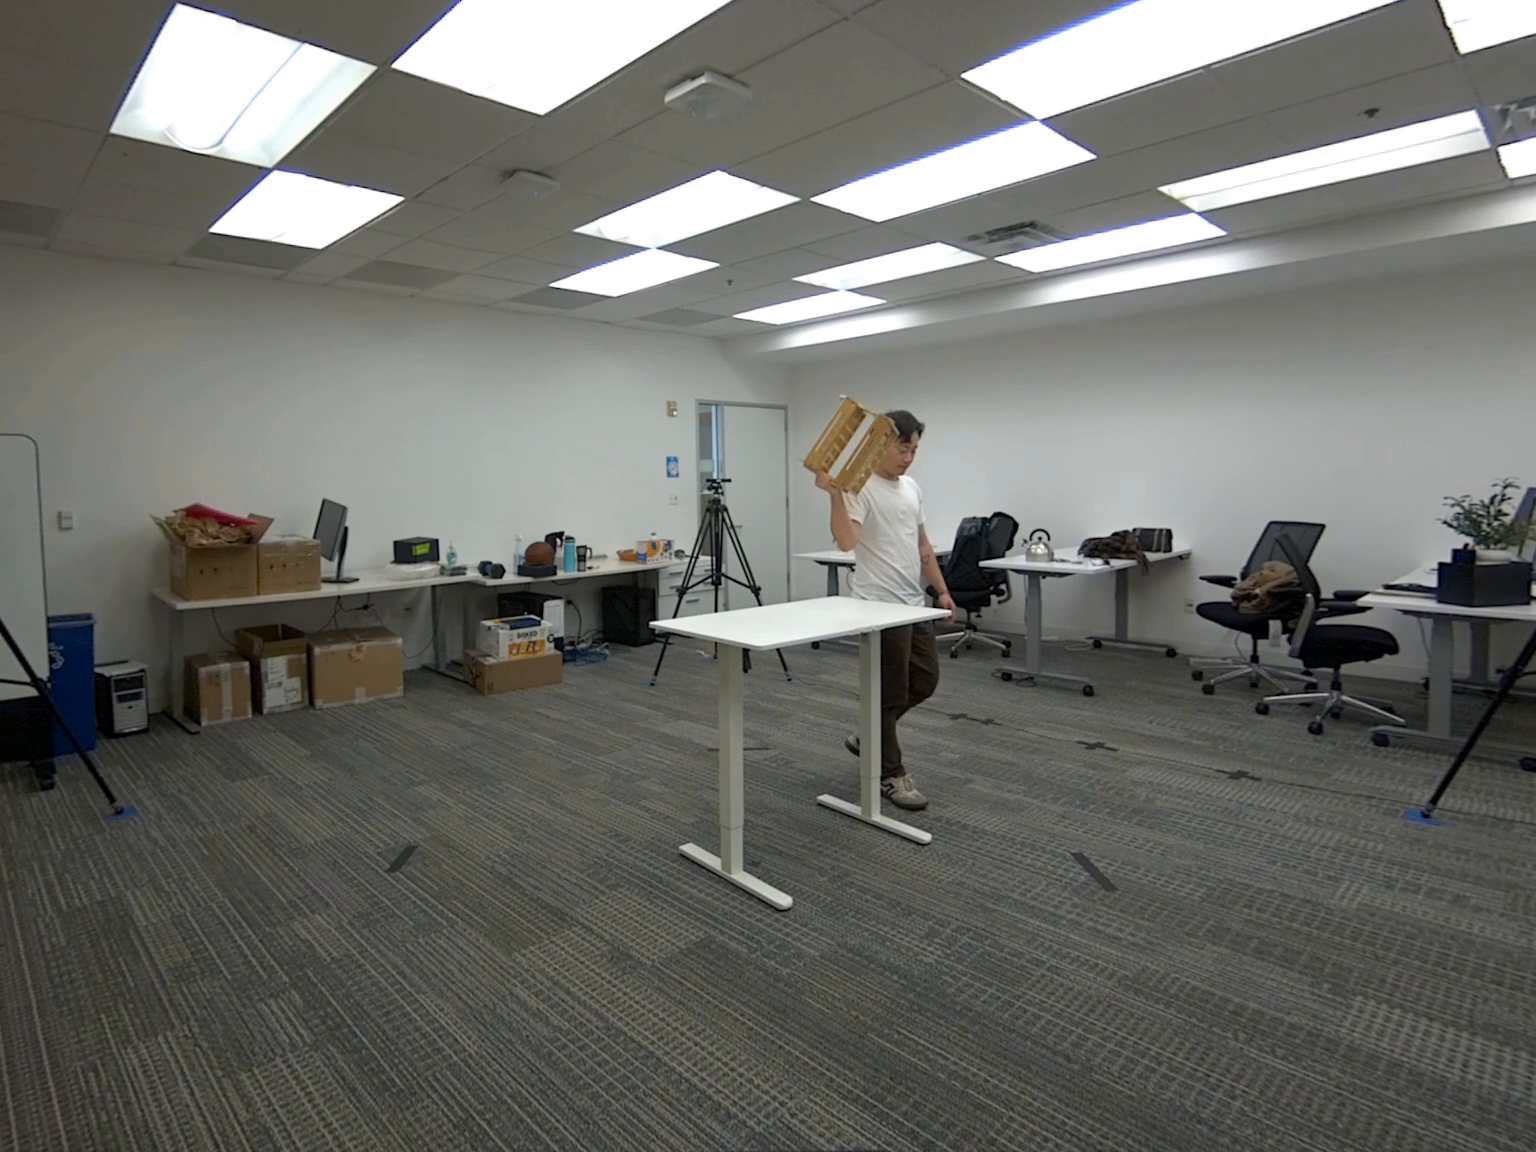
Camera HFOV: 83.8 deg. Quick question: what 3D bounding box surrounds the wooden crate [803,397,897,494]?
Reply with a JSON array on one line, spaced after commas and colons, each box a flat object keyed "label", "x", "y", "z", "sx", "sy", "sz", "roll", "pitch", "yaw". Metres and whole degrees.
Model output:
[{"label": "wooden crate", "x": 0.304, "y": -0.520, "z": 3.324, "sx": 0.280, "sy": 0.324, "sz": 0.295, "roll": 35, "pitch": 6, "yaw": 18}]
